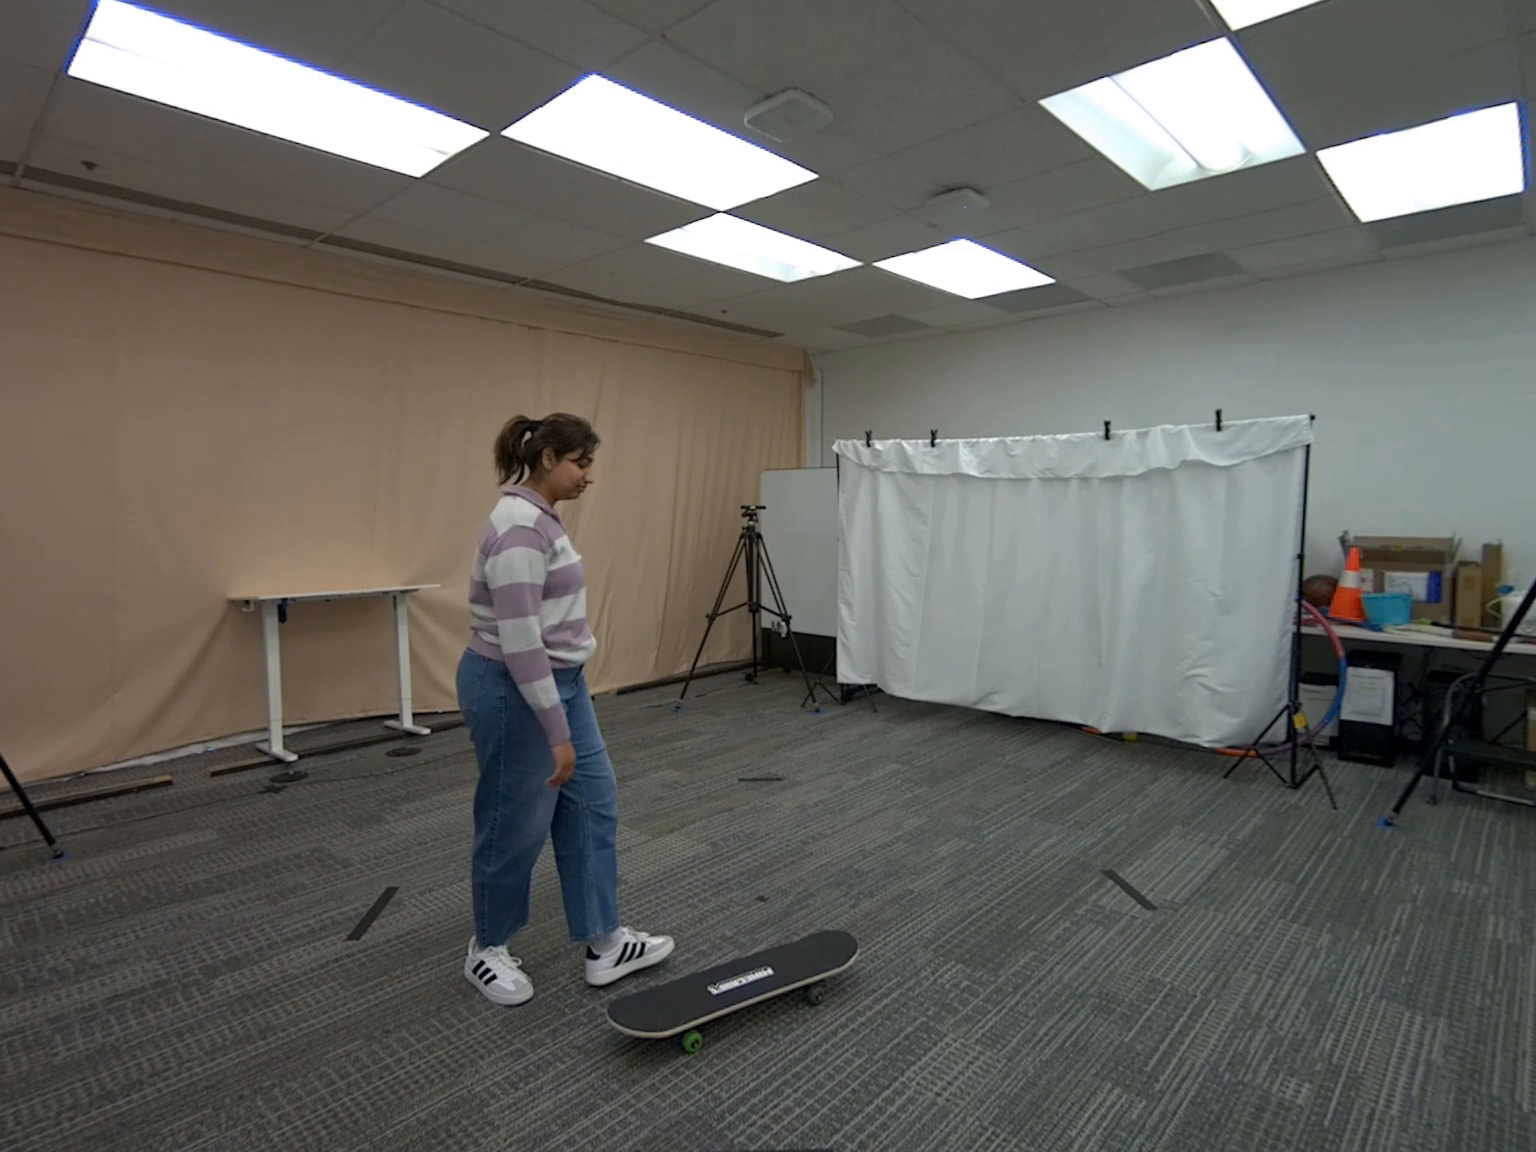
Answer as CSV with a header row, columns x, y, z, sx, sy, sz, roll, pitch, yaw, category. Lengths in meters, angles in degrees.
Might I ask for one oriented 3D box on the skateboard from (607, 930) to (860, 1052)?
x,y,z,sx,sy,sz,roll,pitch,yaw,category
-0.075,1.142,2.314,0.764,0.110,0.199,-3,6,-31,skateboard
